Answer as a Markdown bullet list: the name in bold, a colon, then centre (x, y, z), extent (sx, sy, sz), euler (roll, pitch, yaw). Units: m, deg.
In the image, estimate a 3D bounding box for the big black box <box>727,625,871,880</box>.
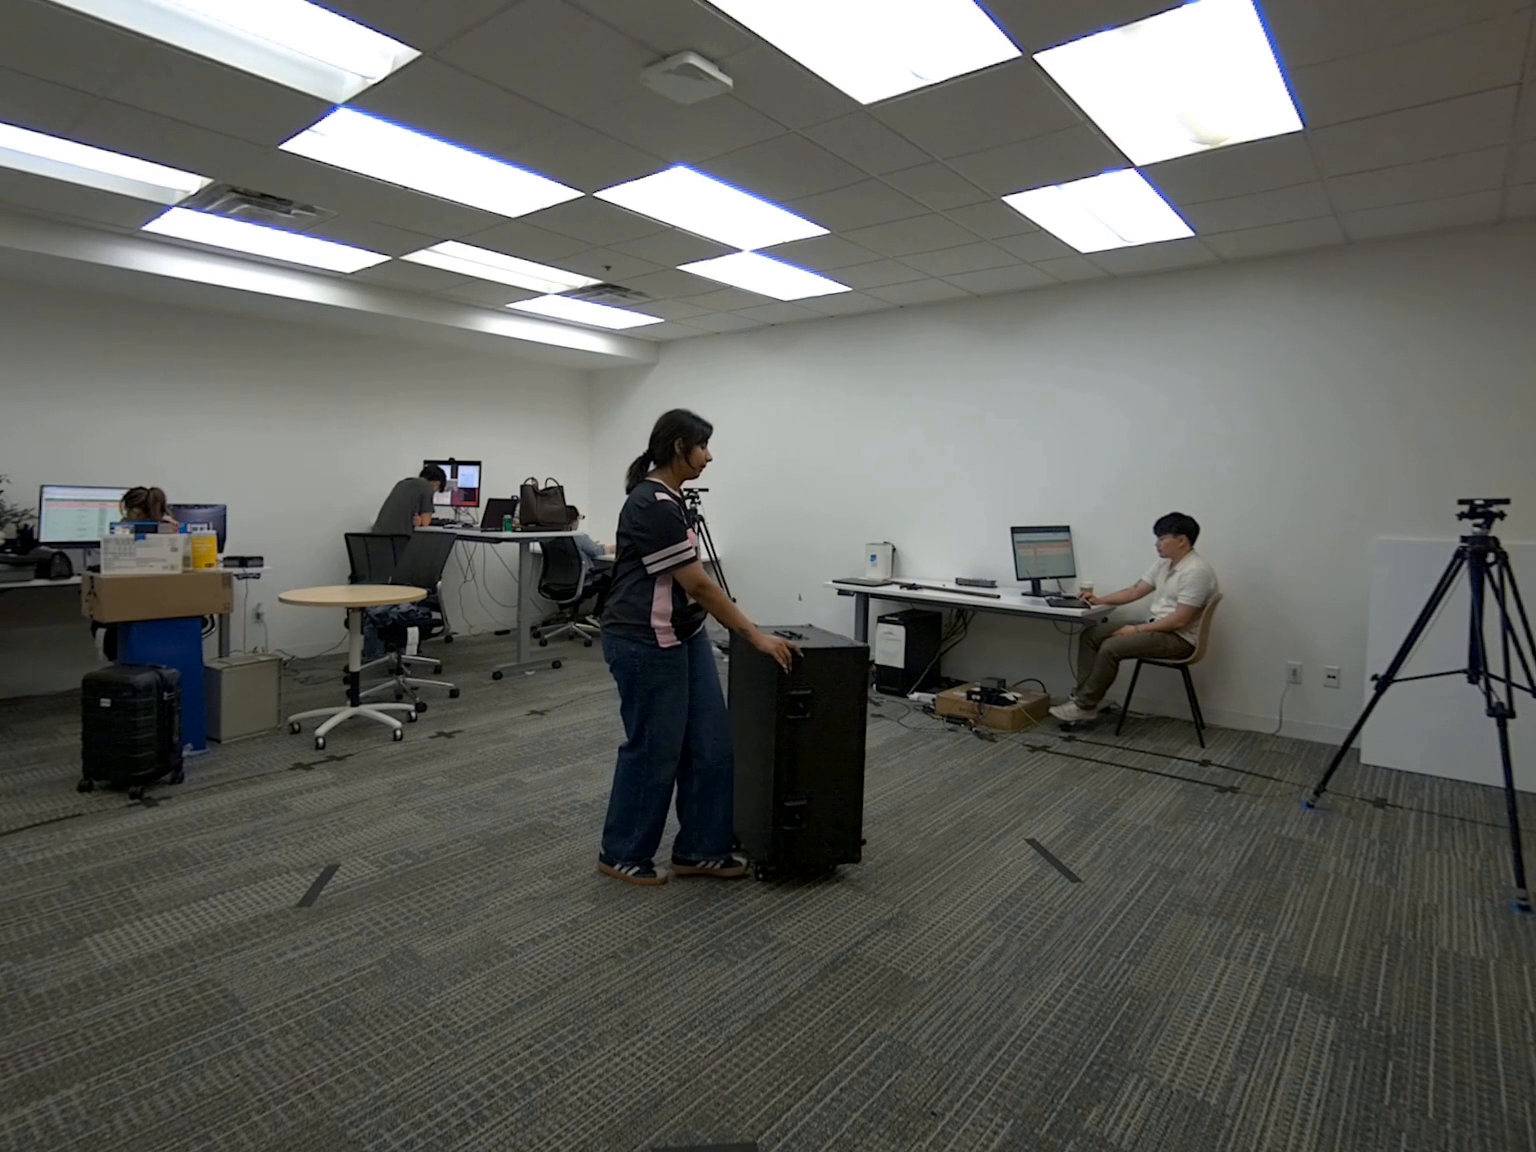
- **big black box**: centre (0.084, 0.644, 3.189), extent (0.377, 0.866, 0.536), euler (1, 4, -22)
